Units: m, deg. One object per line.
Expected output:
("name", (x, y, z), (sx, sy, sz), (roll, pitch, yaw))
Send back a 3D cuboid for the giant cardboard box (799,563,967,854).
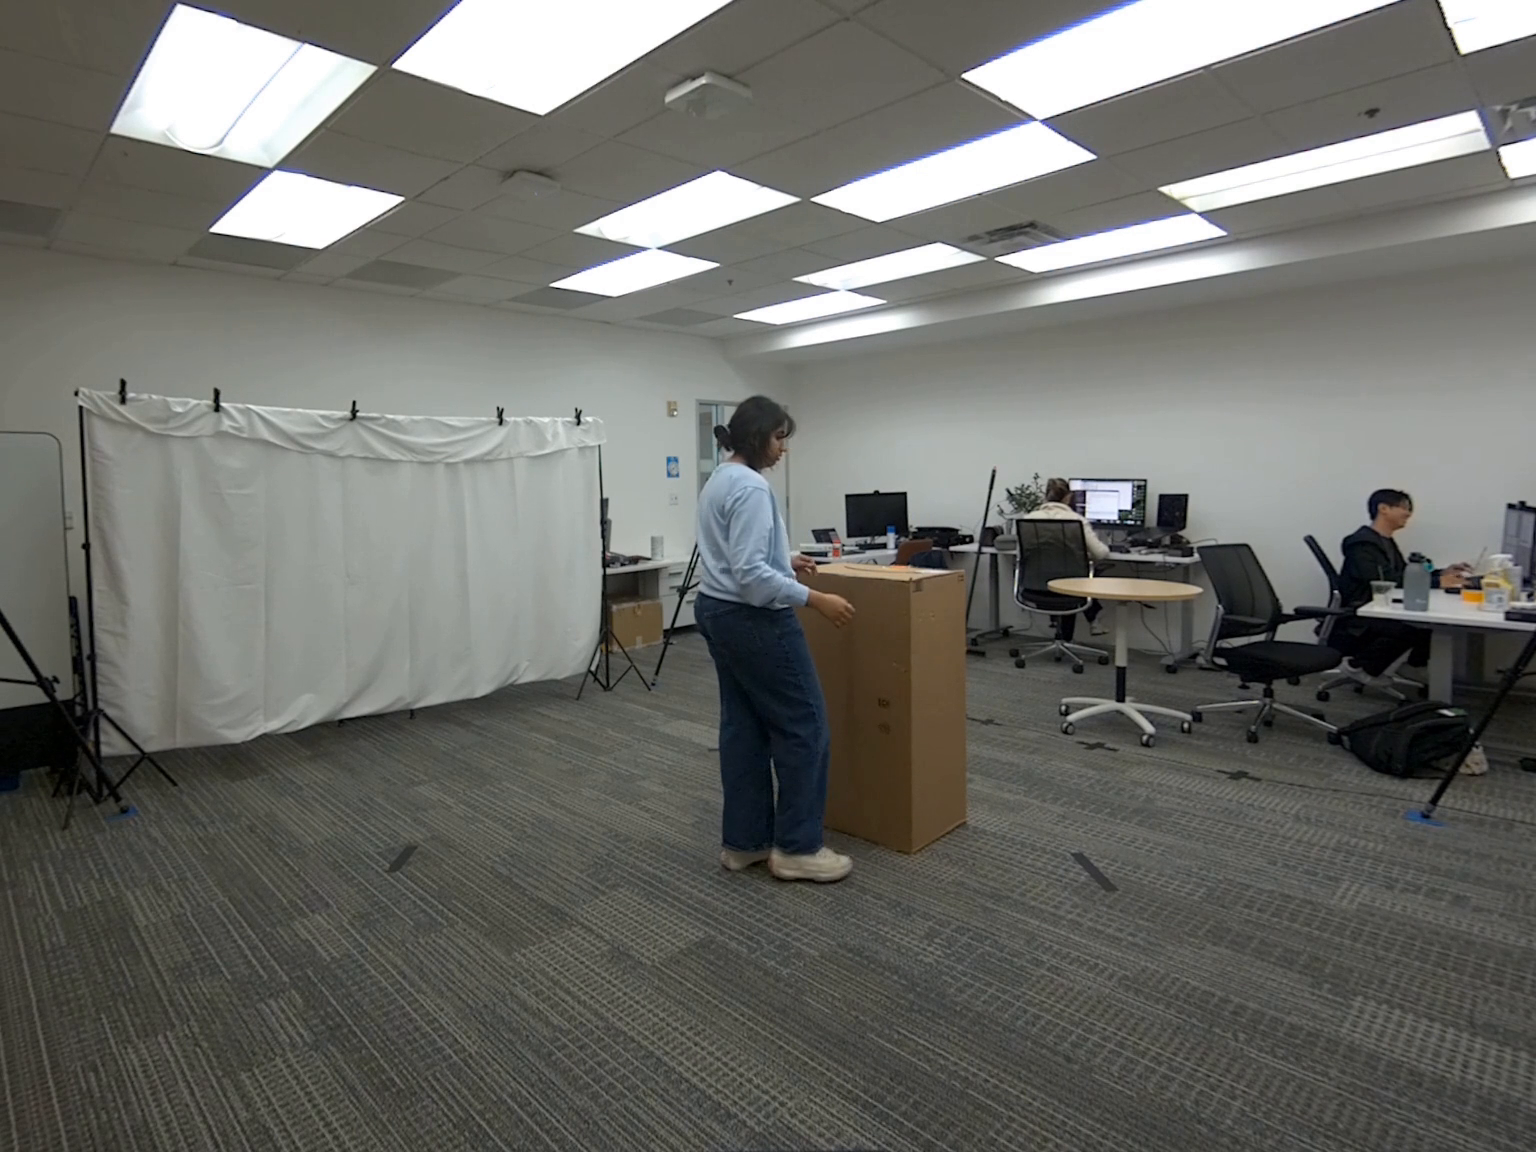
("giant cardboard box", (0.447, 0.483, 3.477), (0.602, 1.024, 0.435), (3, 5, 43))
